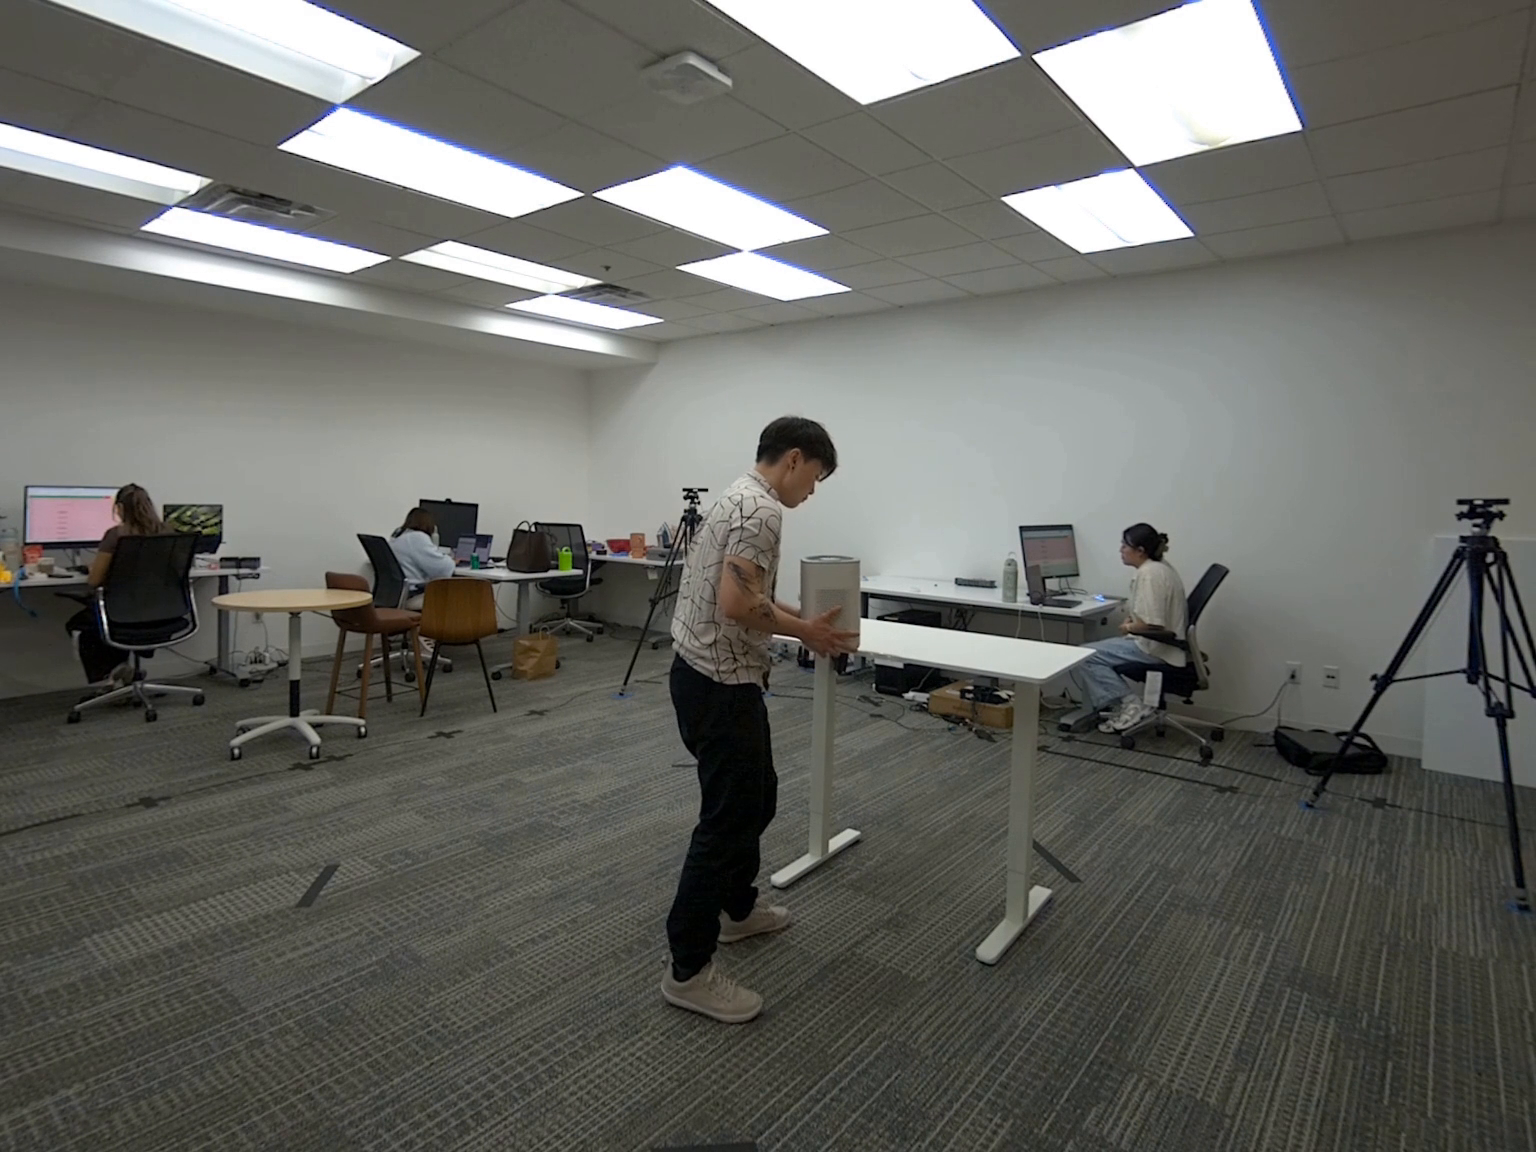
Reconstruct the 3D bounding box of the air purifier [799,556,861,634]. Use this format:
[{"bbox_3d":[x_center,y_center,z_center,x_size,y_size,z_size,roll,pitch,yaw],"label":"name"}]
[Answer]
[{"bbox_3d":[0.177,0.084,2.466,0.171,0.263,0.173,-2,7,-5],"label":"air purifier"}]
